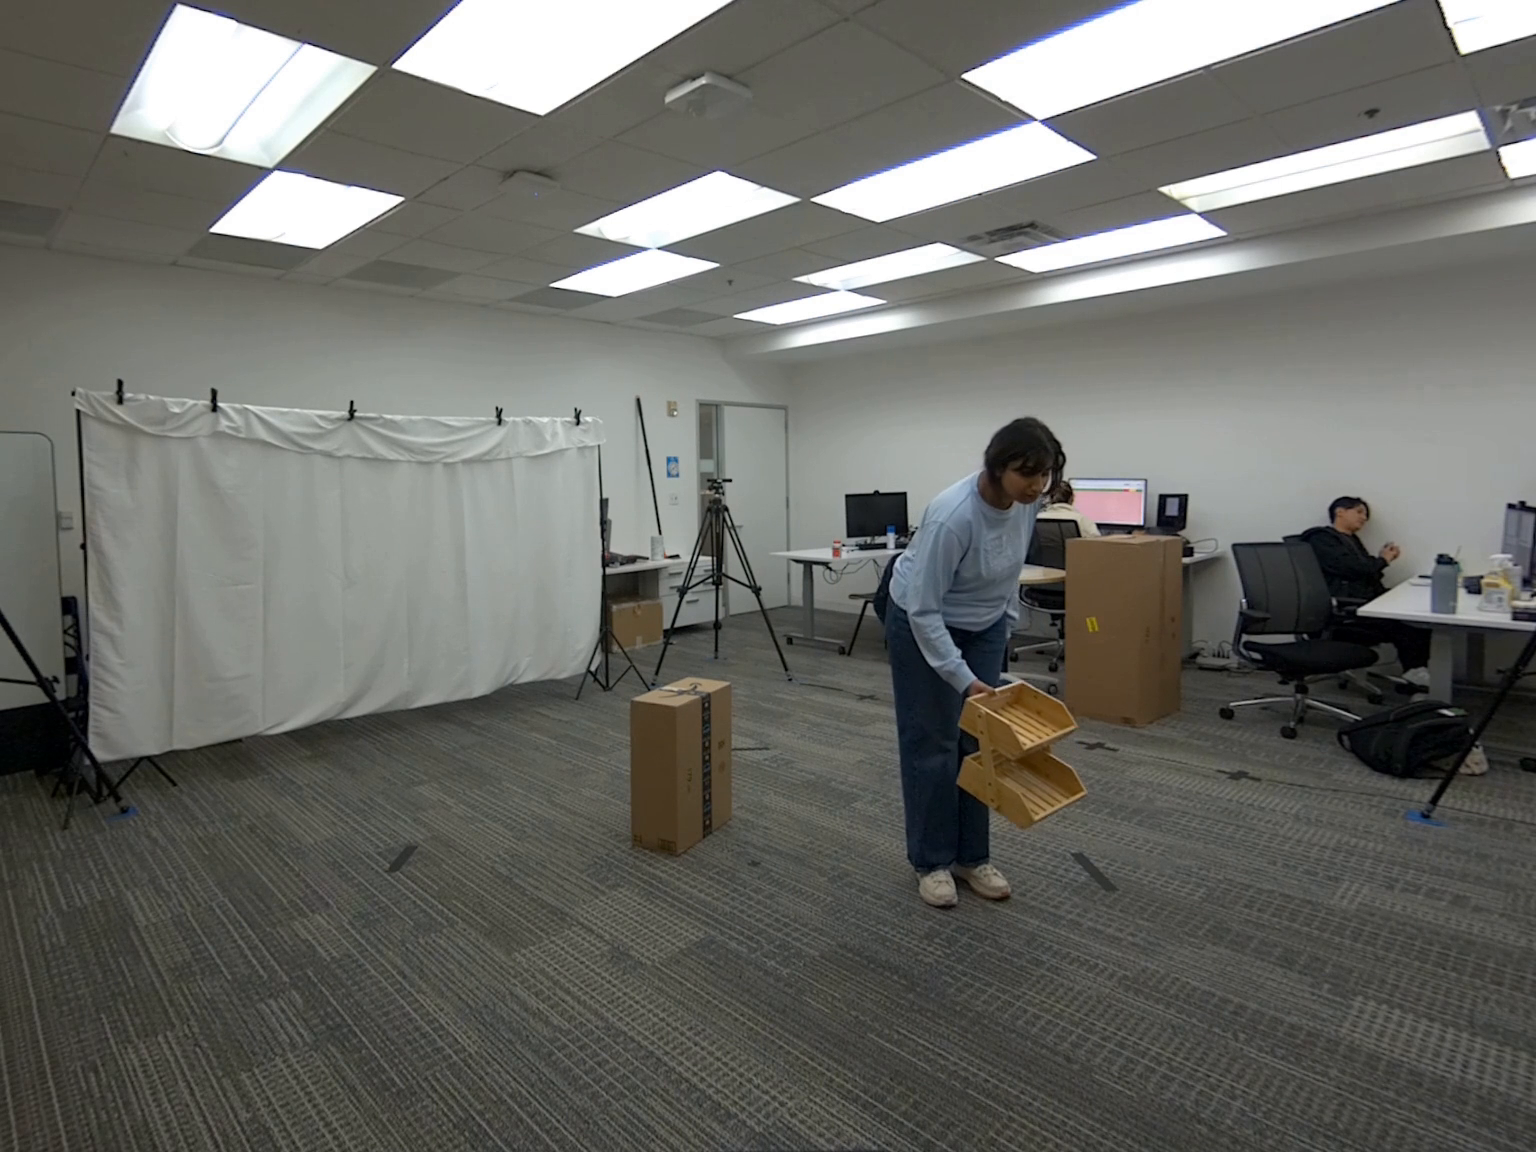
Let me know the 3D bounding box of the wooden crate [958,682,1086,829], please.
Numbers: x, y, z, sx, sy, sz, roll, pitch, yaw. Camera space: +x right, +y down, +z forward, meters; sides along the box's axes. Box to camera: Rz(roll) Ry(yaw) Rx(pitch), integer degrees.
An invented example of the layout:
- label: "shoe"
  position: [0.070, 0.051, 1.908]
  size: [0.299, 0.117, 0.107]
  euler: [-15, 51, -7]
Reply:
- label: "wooden crate"
  position: [0.767, 0.521, 2.509]
  size: [0.316, 0.270, 0.314]
  euler: [-7, 26, -42]
